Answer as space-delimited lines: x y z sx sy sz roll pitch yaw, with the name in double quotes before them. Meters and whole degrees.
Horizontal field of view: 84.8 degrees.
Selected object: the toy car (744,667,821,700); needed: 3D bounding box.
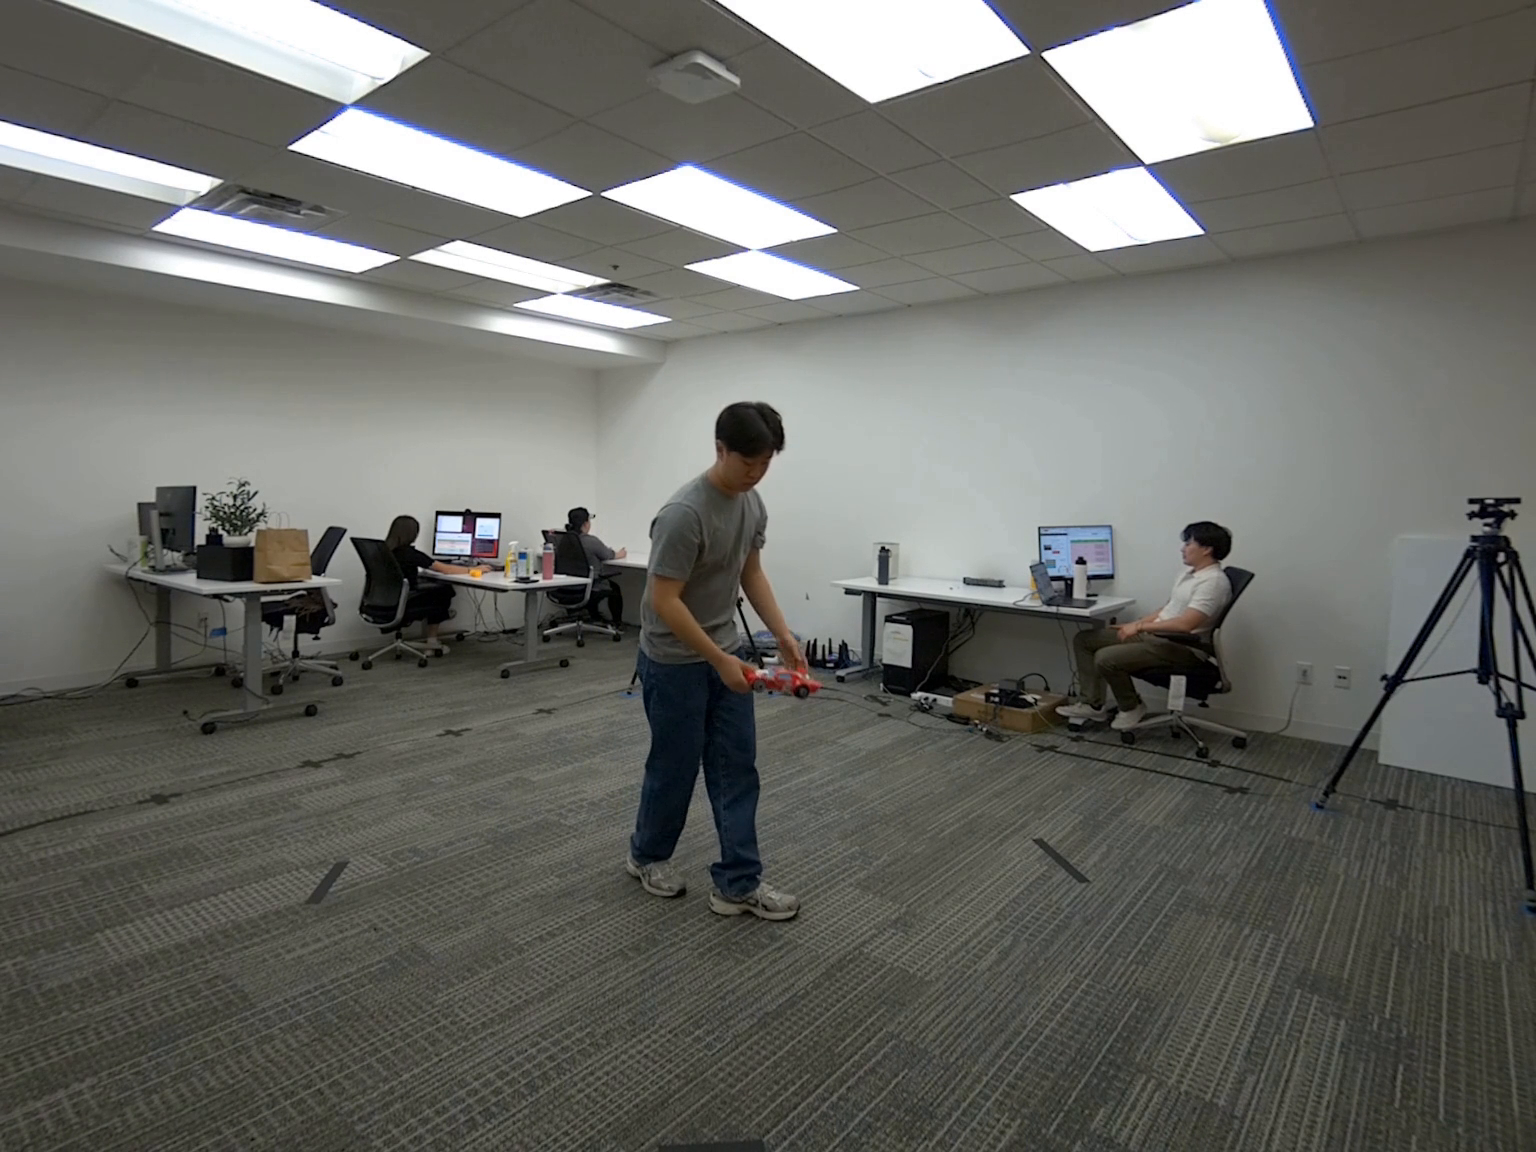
"toy car" 0.027 0.338 2.636 0.251 0.083 0.133 -1 7 -15
